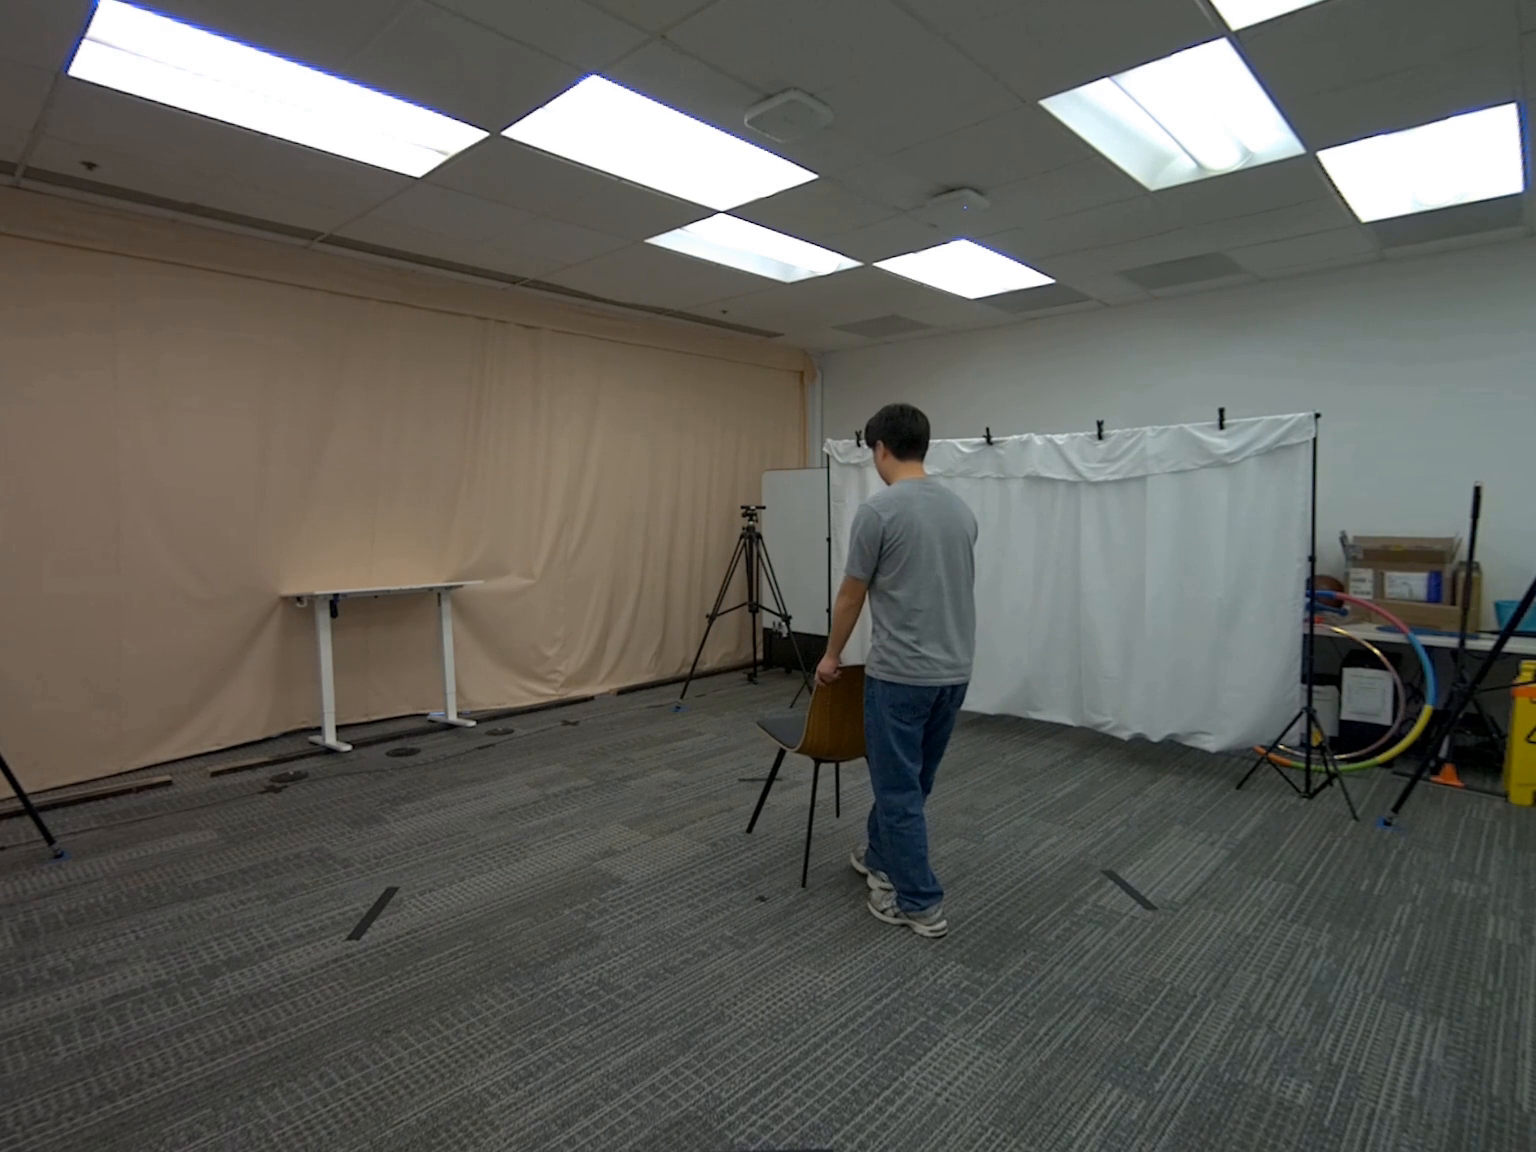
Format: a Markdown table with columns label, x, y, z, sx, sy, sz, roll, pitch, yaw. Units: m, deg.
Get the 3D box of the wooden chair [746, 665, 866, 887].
| label | x | y | z | sx | sy | sz | roll | pitch | yaw |
| --- | --- | --- | --- | --- | --- | --- | --- | --- | --- |
| wooden chair | 0.230 | 0.670 | 3.298 | 0.466 | 0.871 | 0.540 | -1 | 14 | -27 |
